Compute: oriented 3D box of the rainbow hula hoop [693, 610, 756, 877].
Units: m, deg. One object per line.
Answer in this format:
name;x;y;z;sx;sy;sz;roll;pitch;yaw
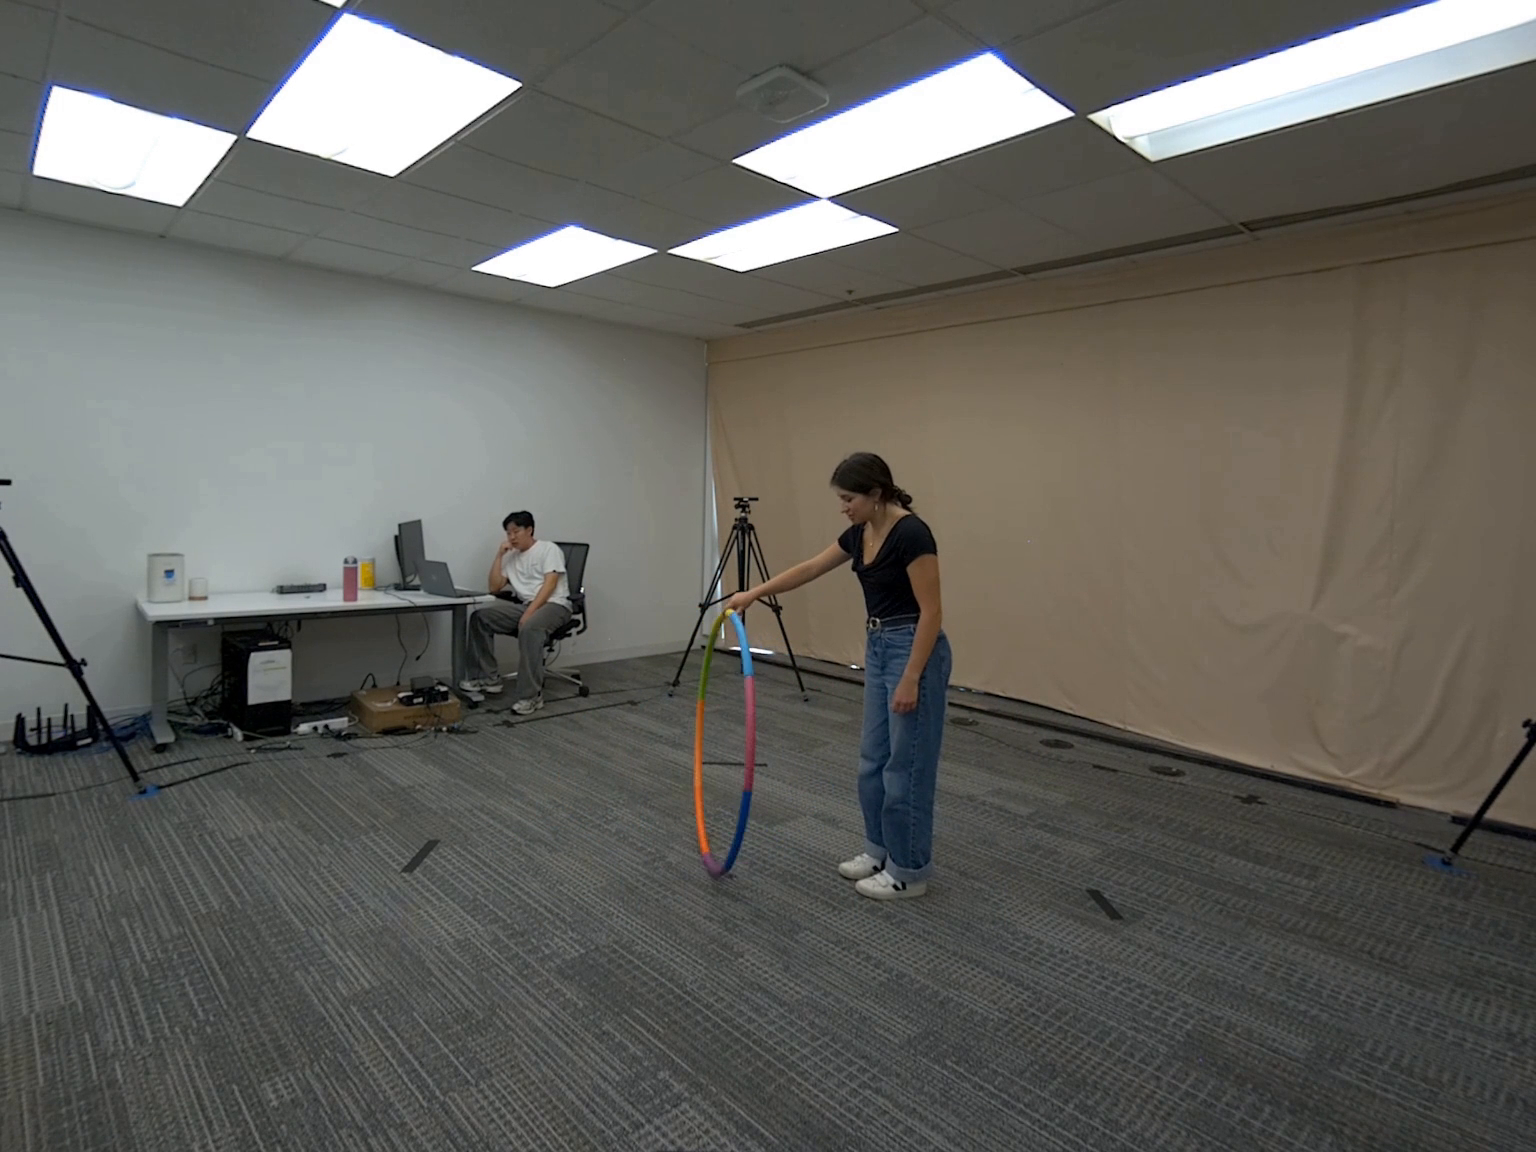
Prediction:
rainbow hula hoop;-0.191;0.621;3.185;0.035;0.977;0.991;5;3;-14
